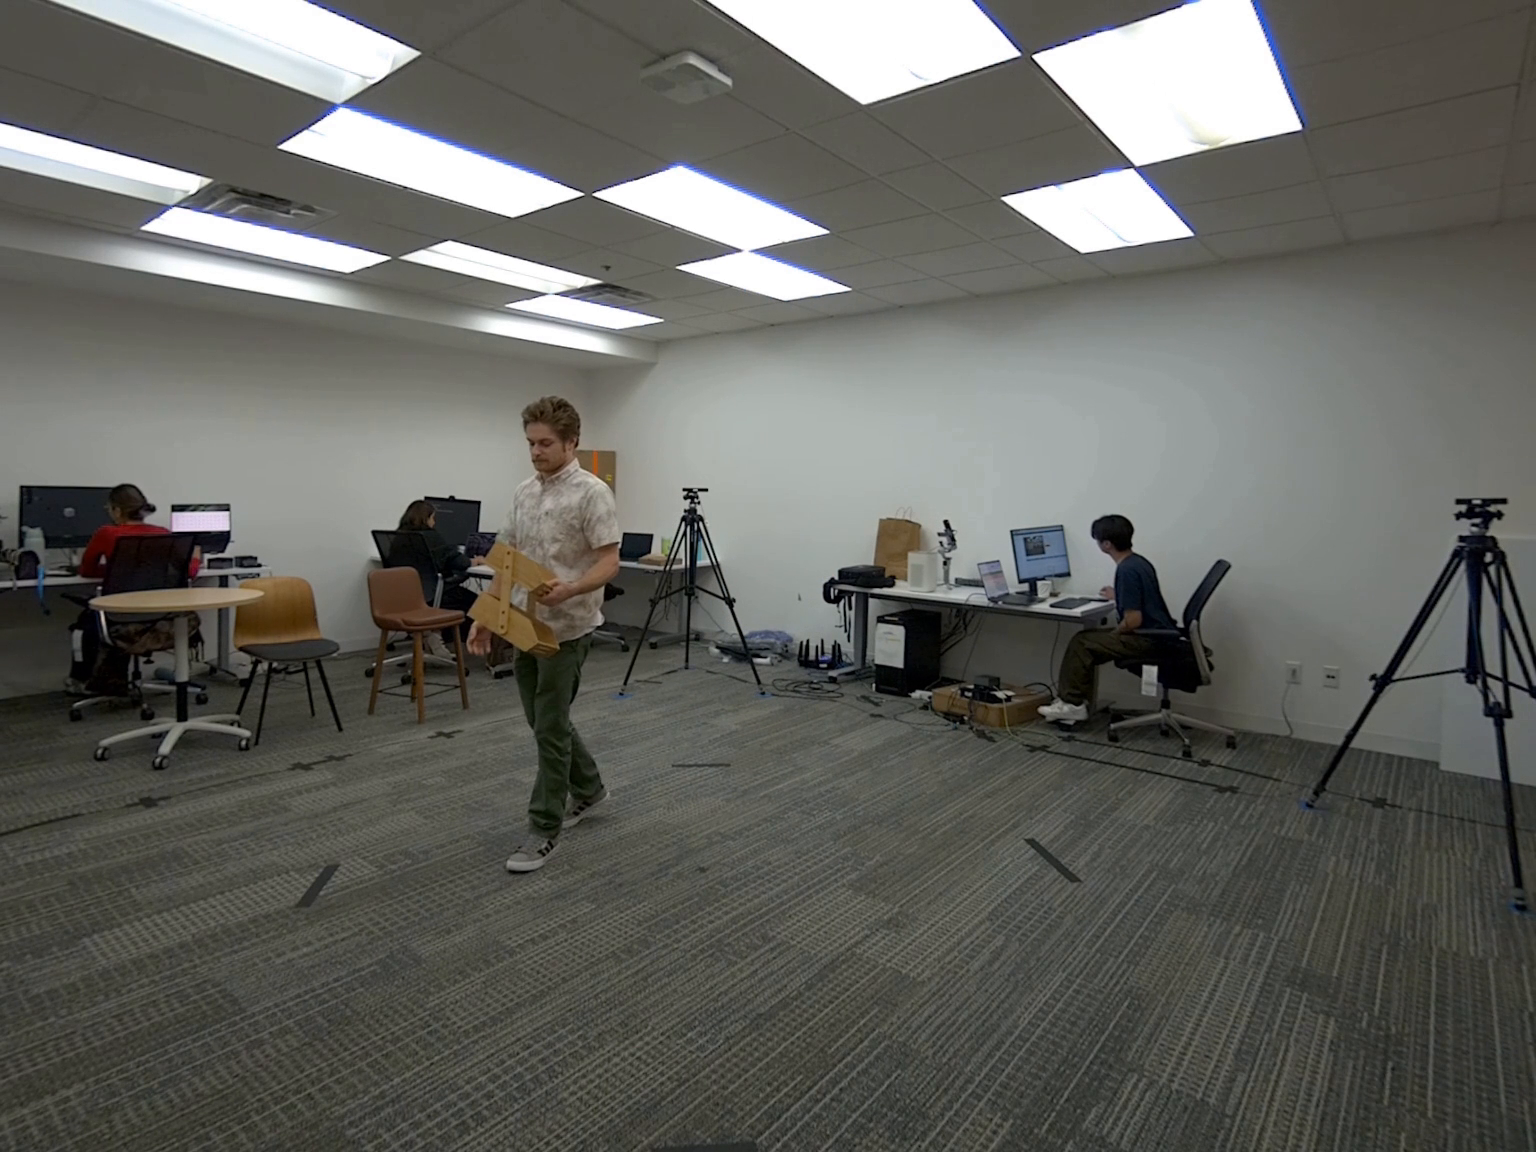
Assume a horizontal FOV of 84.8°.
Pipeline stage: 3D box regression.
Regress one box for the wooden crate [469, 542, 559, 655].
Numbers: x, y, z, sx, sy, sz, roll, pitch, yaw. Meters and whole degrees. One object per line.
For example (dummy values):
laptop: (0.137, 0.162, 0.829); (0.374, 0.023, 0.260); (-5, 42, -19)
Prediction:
wooden crate: (-0.829, 0.080, 2.886); (0.305, 0.274, 0.320); (29, -9, 5)
